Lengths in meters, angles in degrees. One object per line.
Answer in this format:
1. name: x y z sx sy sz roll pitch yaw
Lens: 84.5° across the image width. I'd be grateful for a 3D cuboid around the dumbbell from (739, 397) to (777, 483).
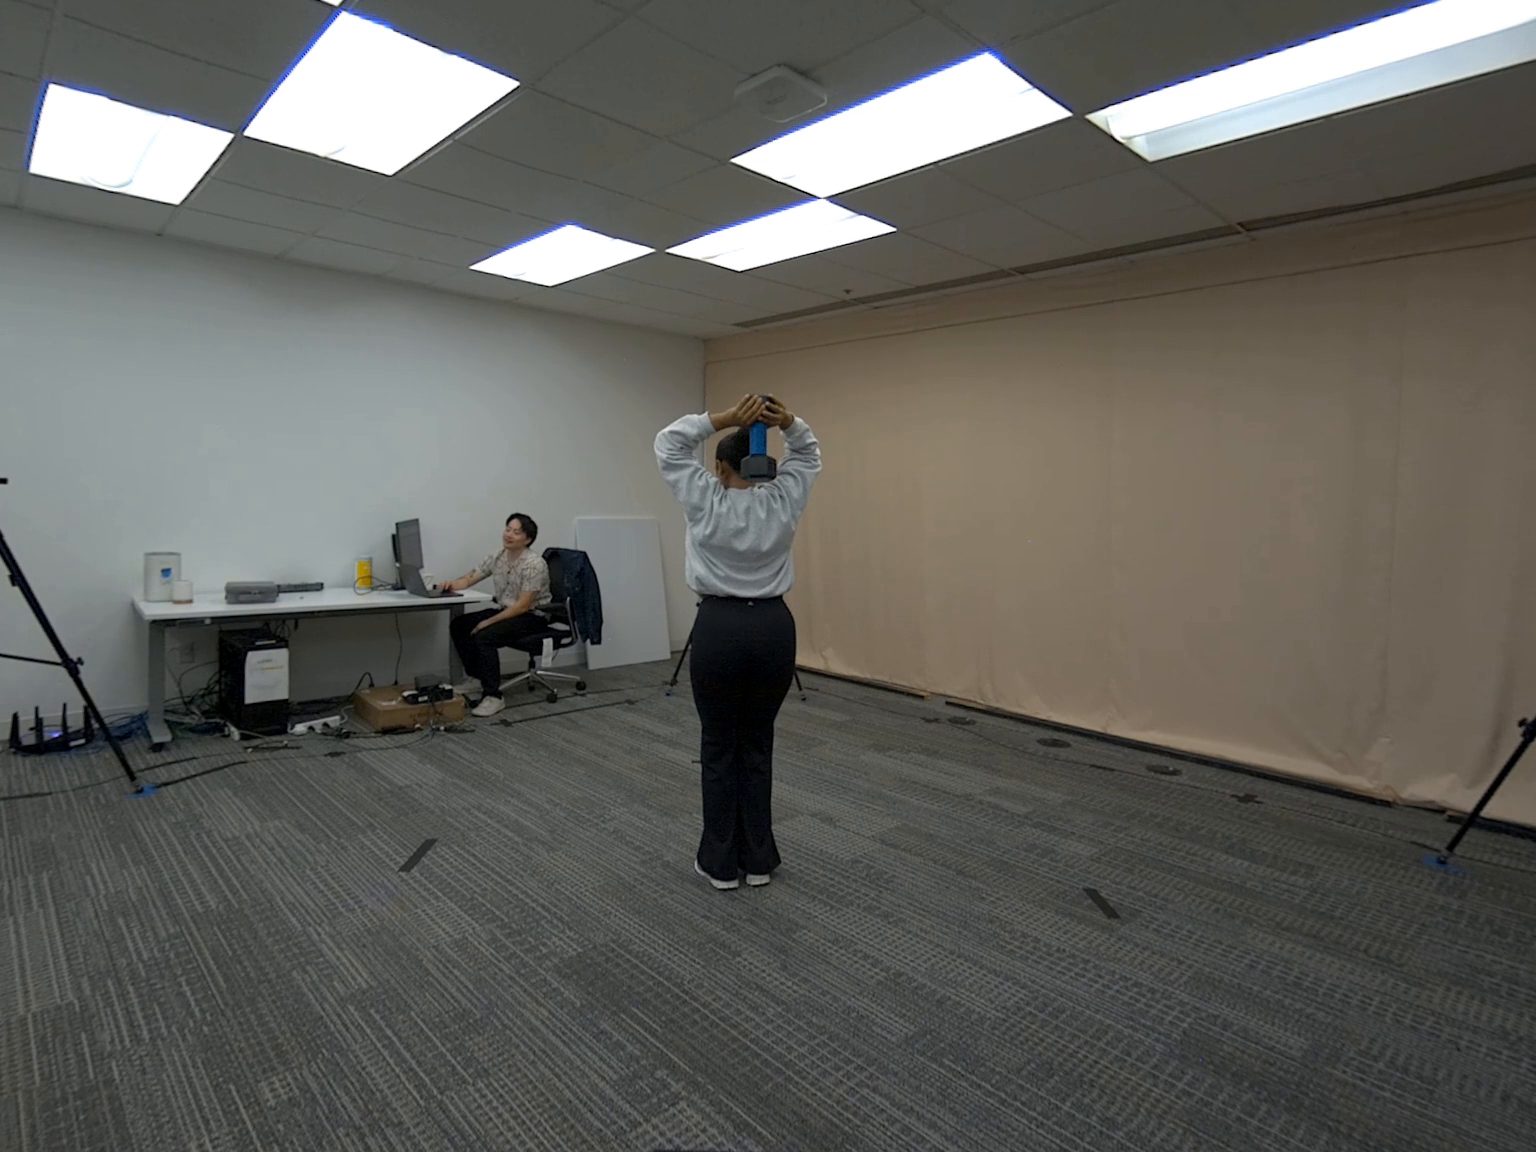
1. dumbbell: -0.047 -0.479 2.884 0.111 0.295 0.120 -6 -8 33
